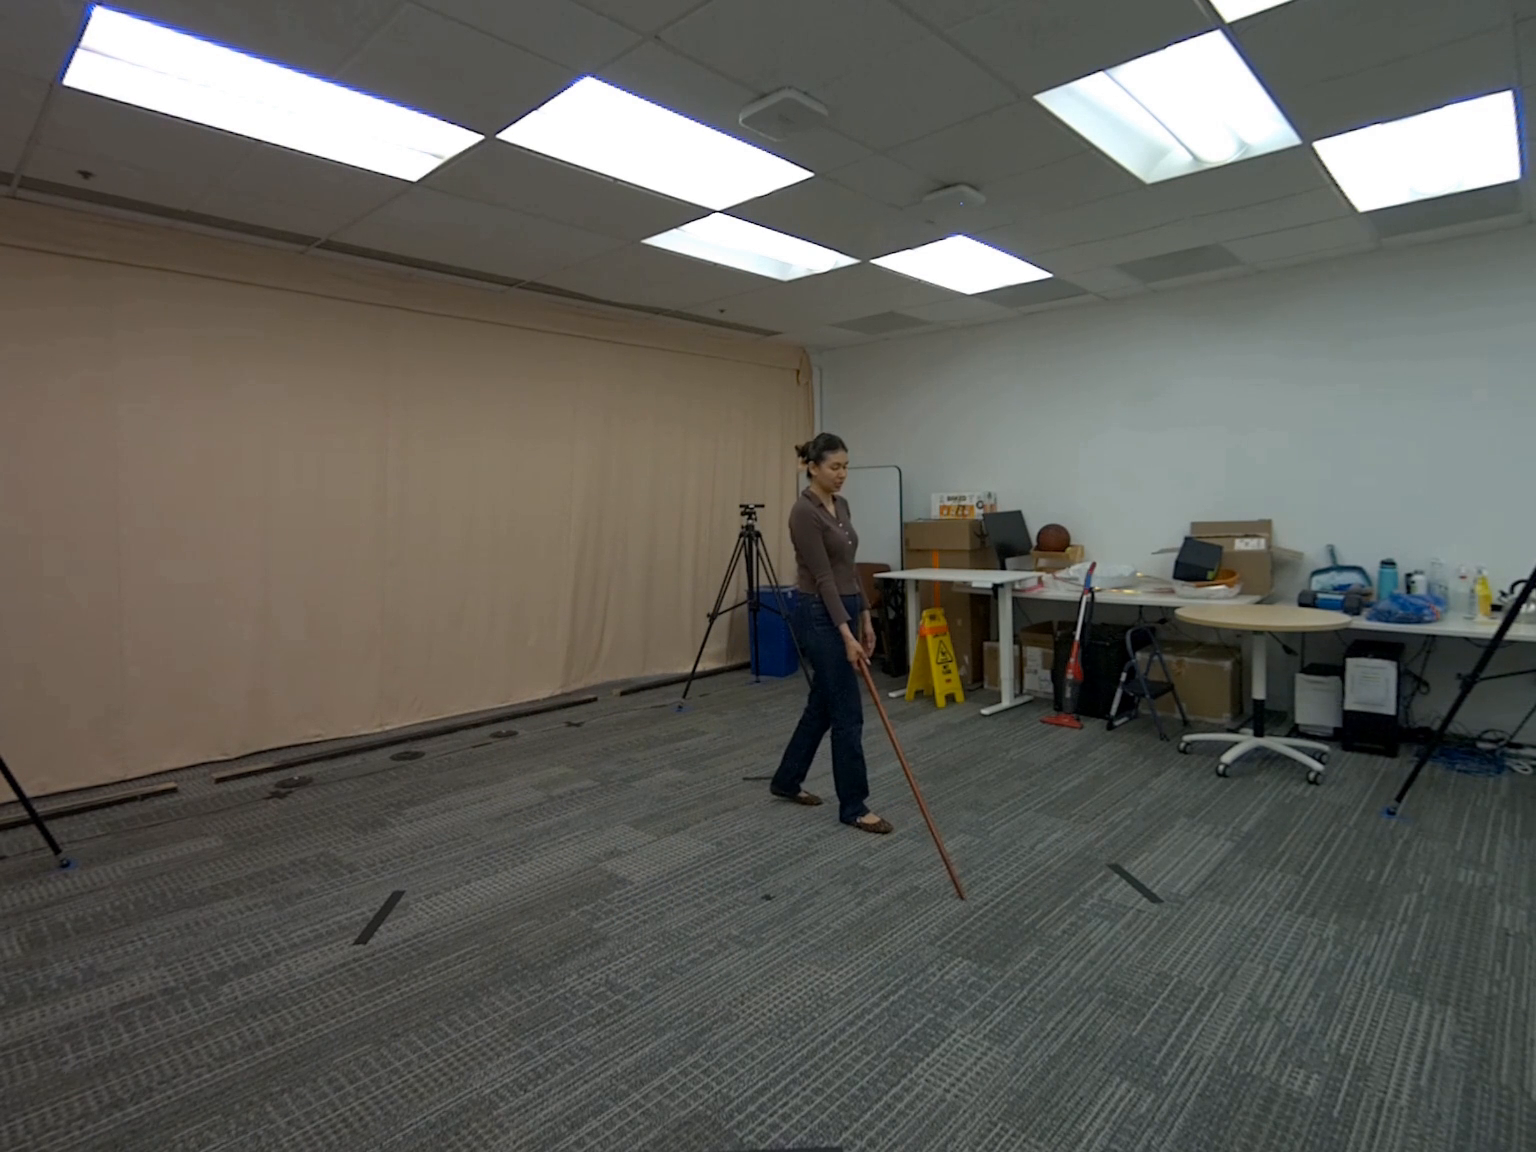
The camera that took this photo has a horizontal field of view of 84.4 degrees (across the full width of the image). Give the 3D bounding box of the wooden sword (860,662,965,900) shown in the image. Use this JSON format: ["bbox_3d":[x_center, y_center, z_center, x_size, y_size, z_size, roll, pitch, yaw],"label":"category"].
[{"bbox_3d":[0.536,0.729,3.225,0.024,1.052,0.049,-38,-36,24],"label":"wooden sword"}]
